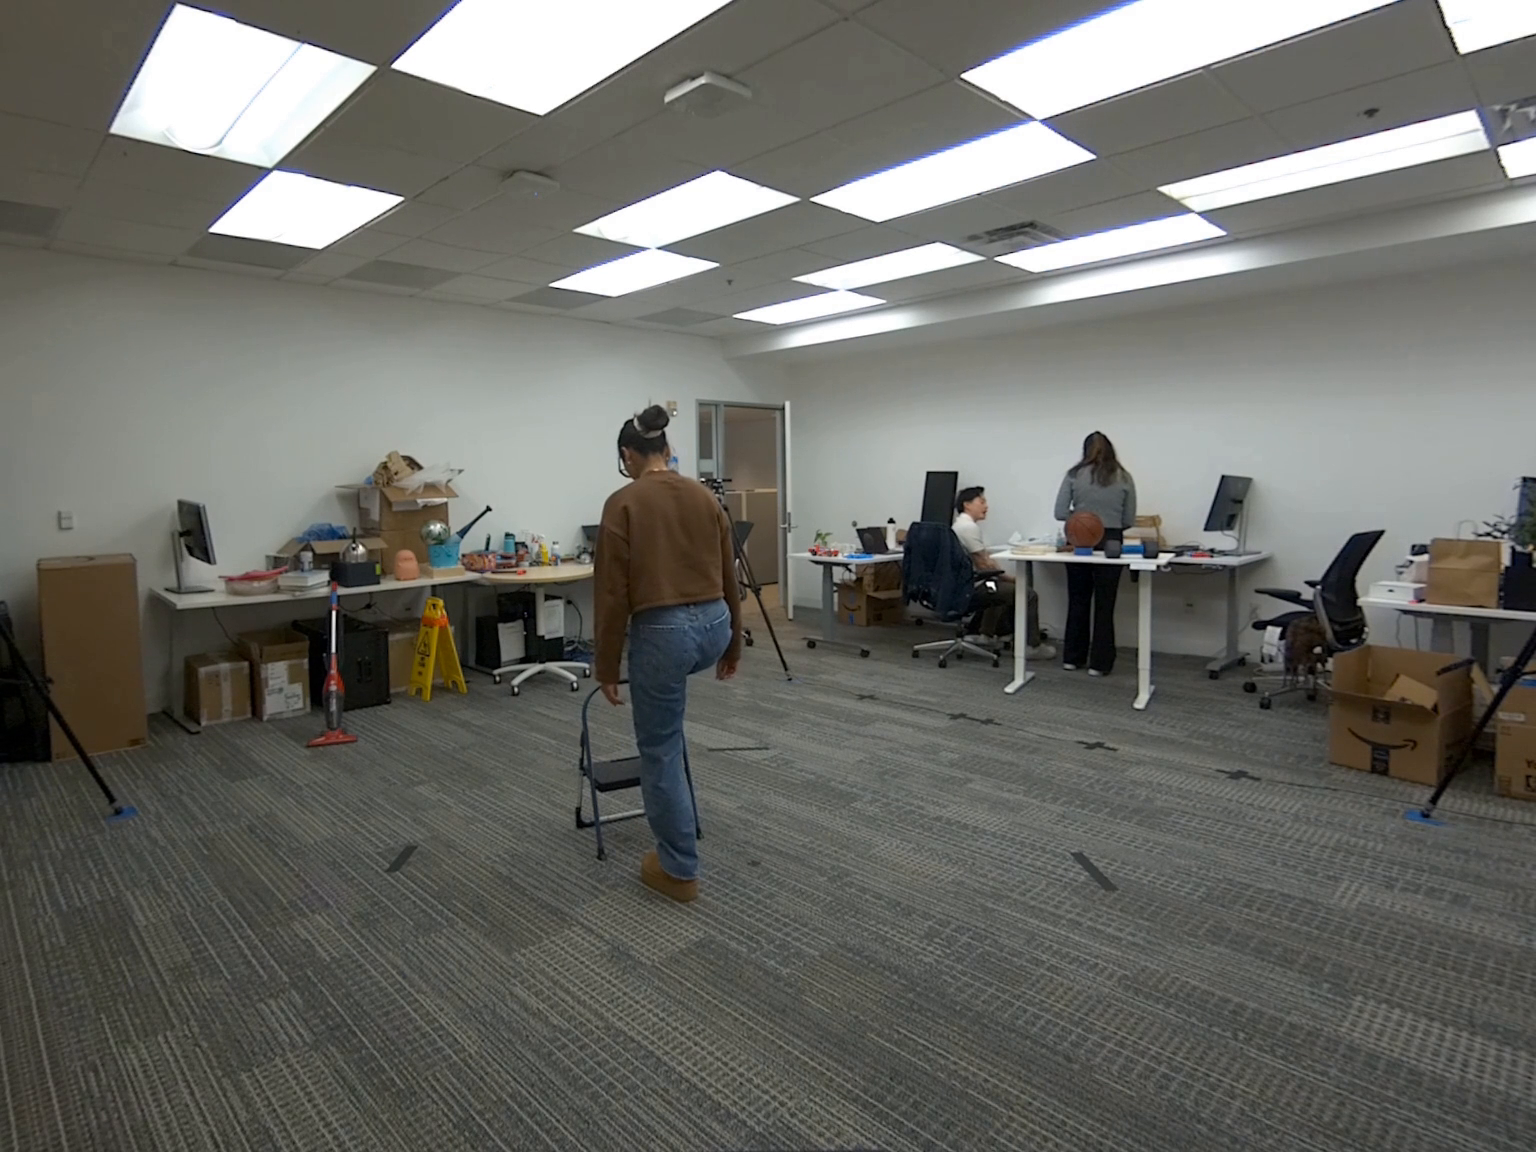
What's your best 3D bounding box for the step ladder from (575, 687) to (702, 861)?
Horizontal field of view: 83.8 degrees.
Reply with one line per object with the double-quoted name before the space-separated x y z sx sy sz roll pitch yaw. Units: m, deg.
"step ladder" -0.521 0.717 3.378 0.421 0.604 0.358 -3 5 -27
